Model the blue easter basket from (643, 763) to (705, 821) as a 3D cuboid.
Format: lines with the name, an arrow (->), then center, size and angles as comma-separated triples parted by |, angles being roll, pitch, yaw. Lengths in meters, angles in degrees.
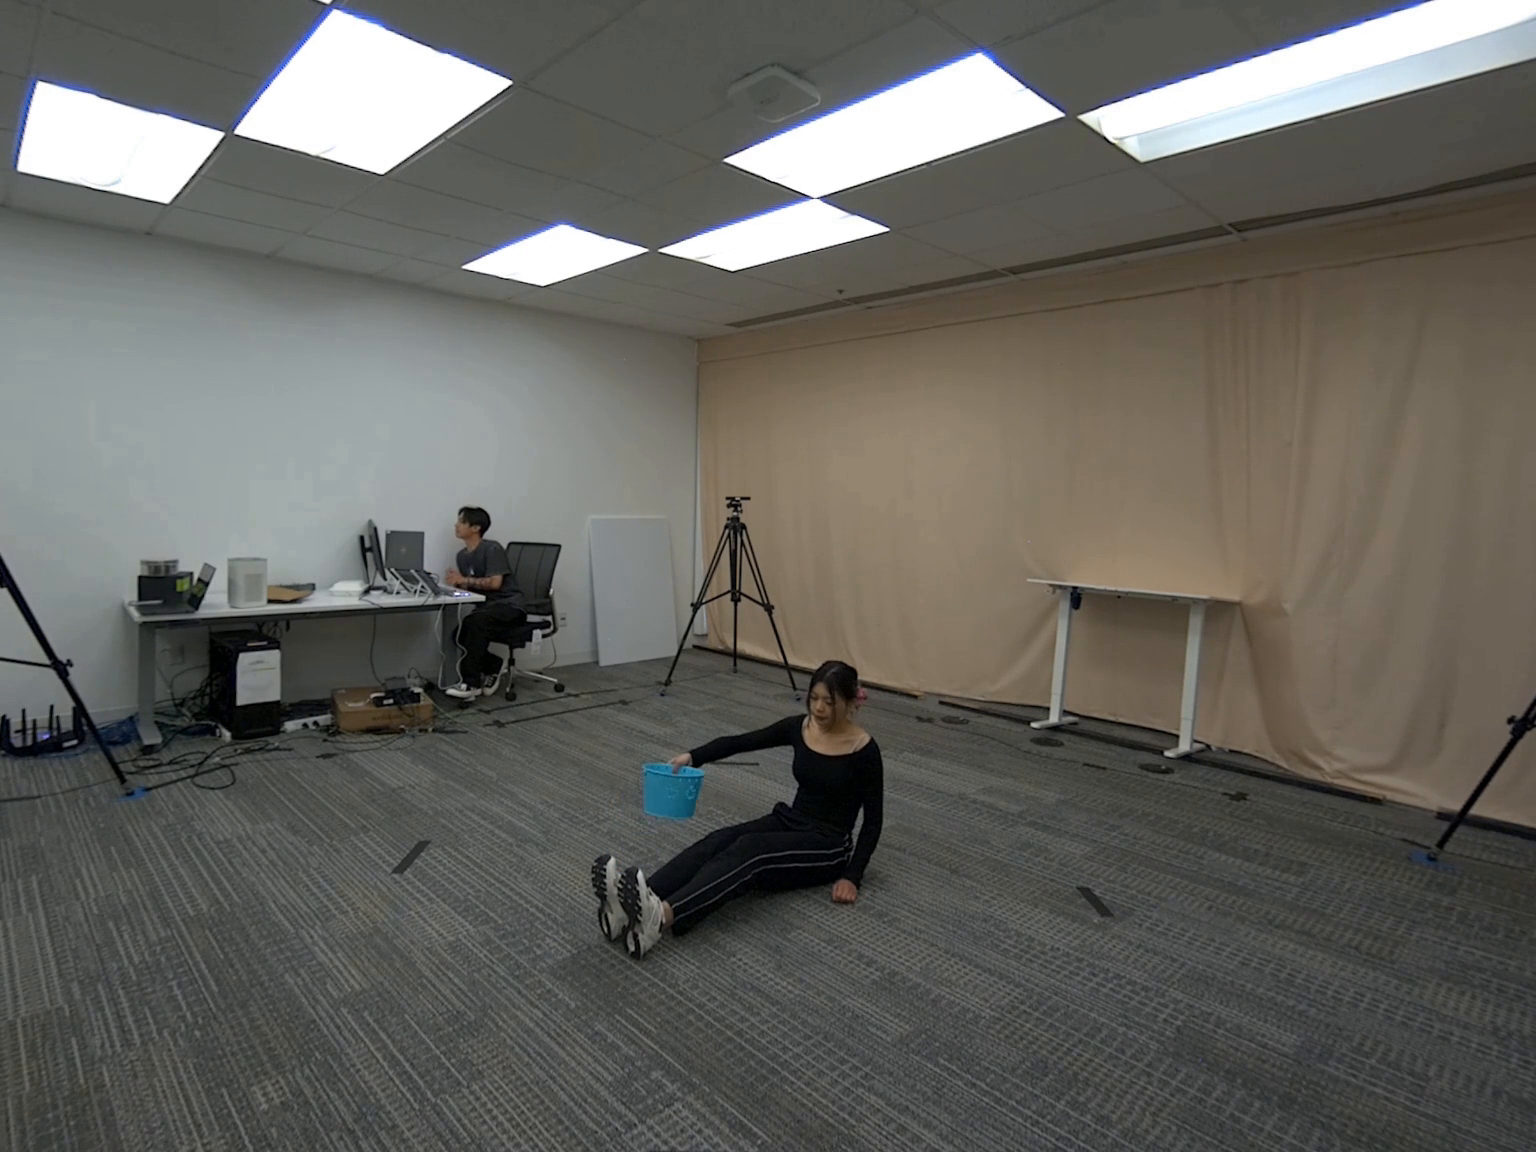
blue easter basket -> -0.353, 0.776, 3.026 | 0.243, 0.156, 0.243 | 7, -4, -1
